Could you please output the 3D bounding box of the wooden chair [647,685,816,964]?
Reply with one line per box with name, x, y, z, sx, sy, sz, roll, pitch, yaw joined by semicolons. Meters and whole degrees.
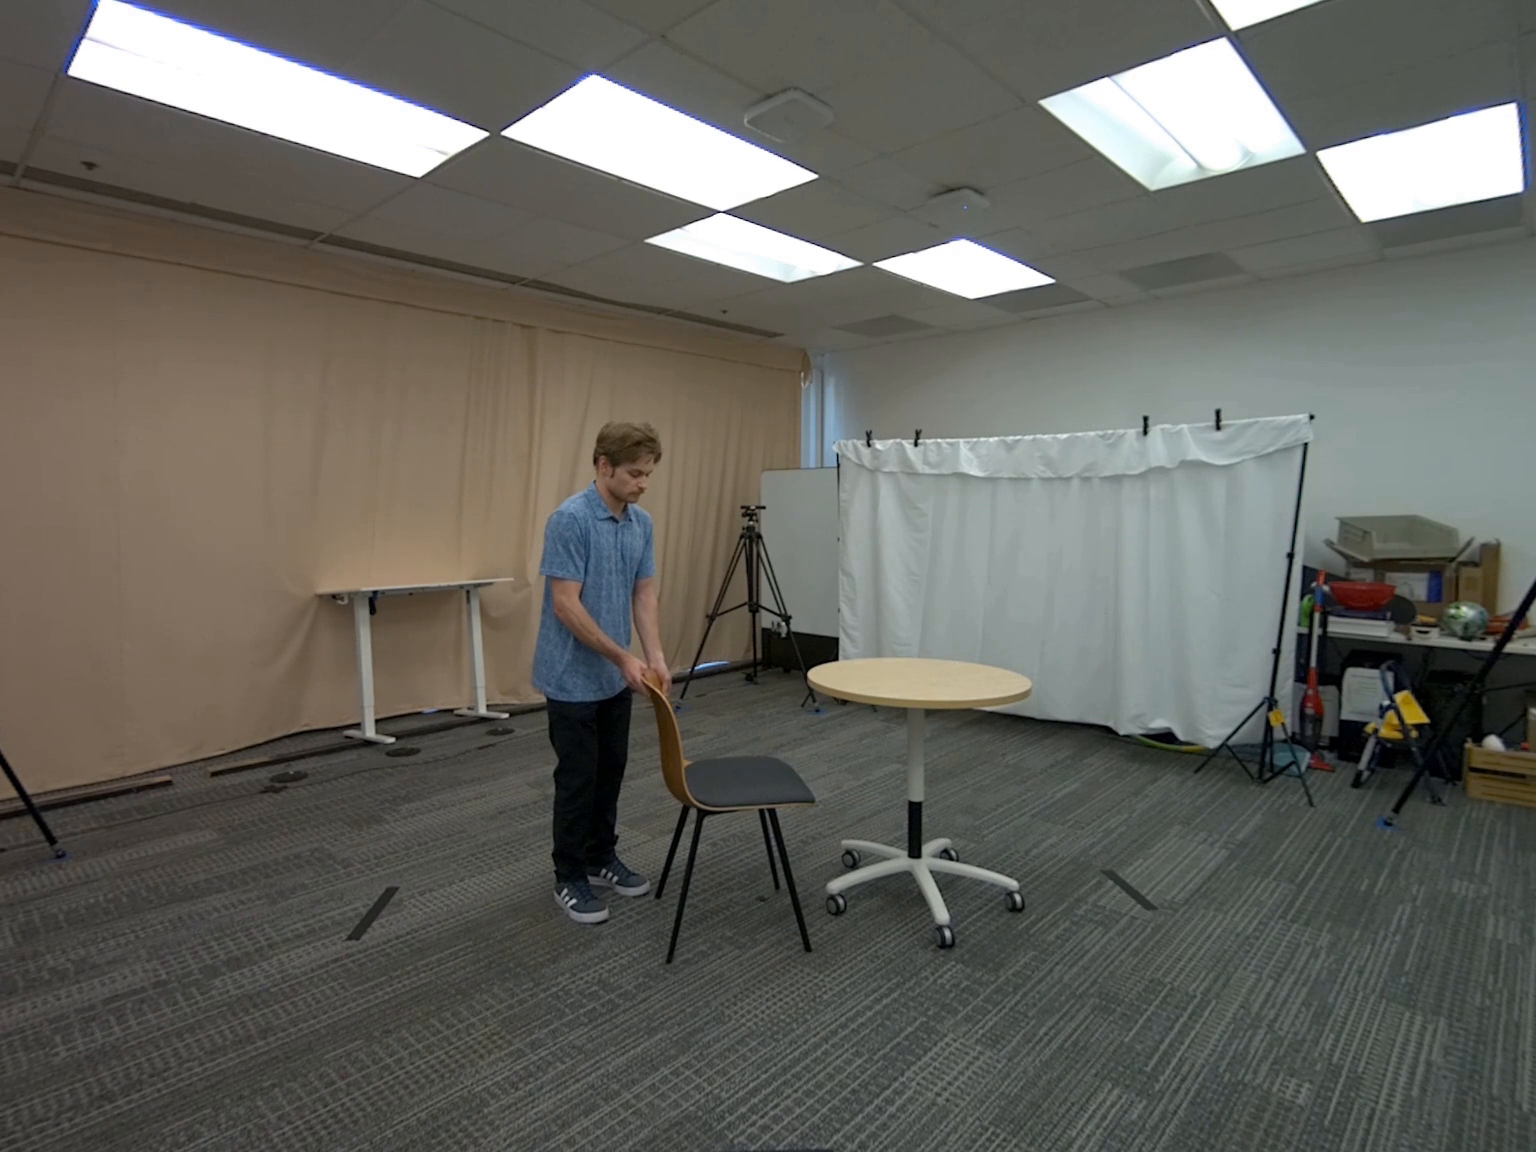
wooden chair;-0.121;0.737;2.783;0.517;0.875;0.484;-4;3;-11
